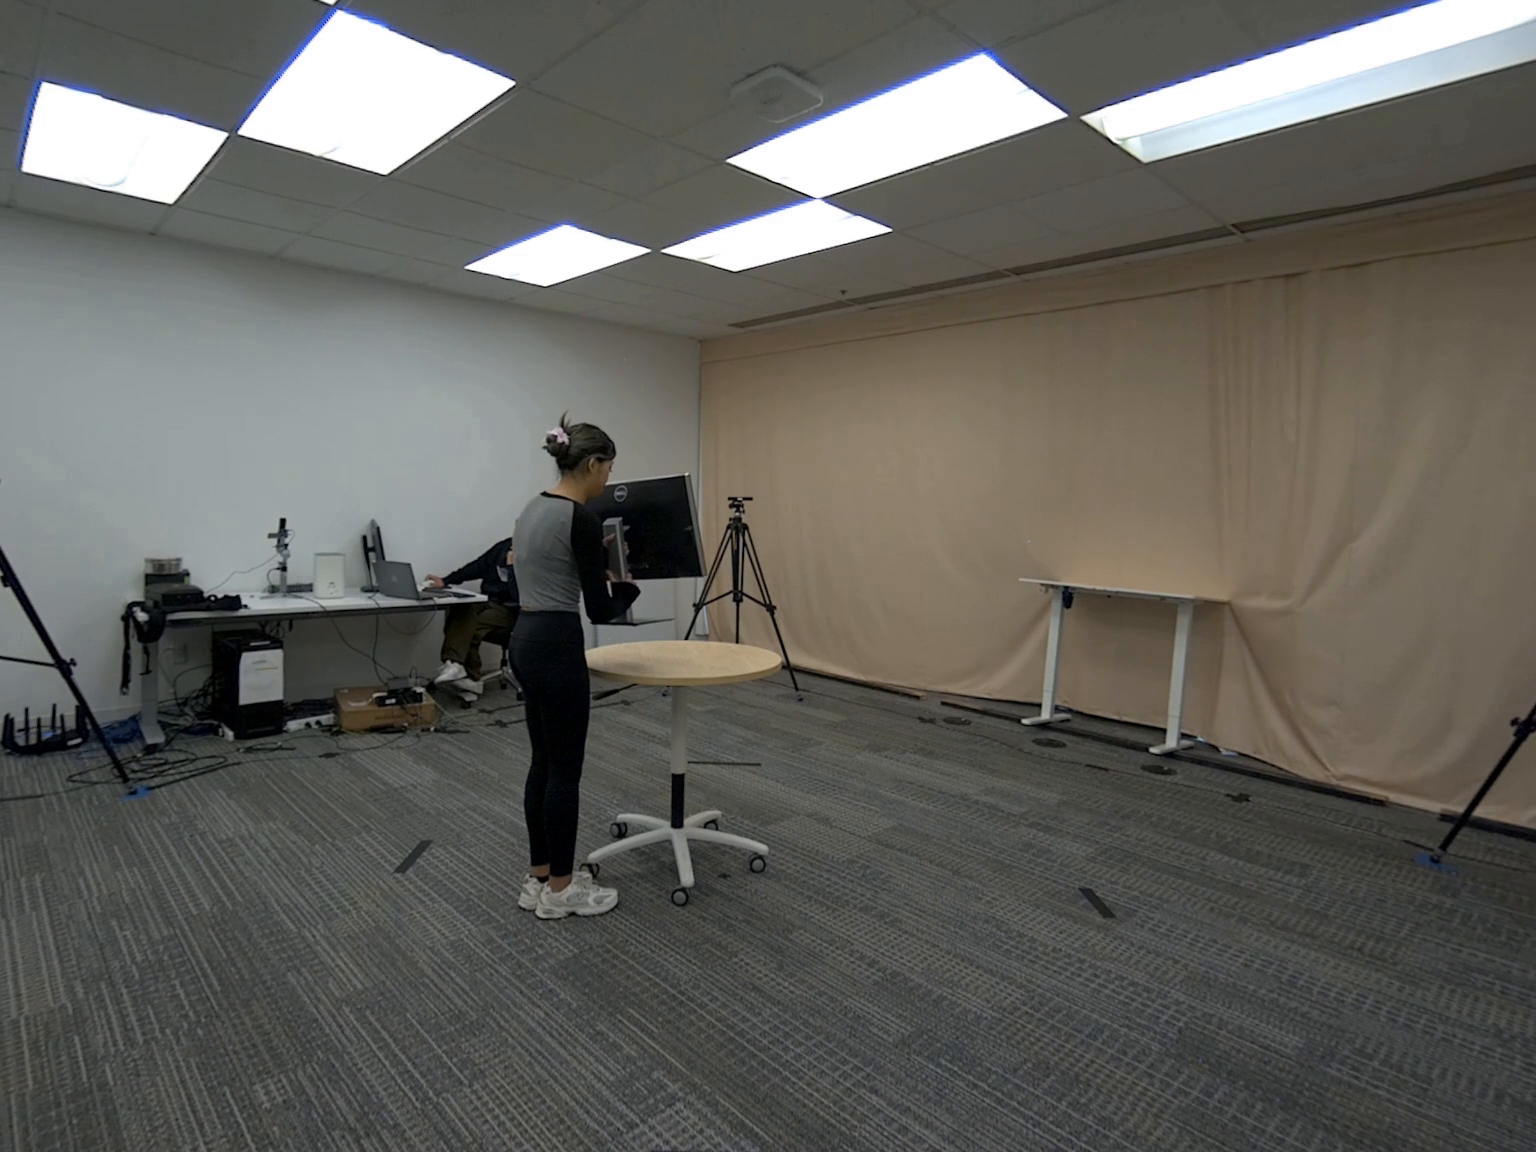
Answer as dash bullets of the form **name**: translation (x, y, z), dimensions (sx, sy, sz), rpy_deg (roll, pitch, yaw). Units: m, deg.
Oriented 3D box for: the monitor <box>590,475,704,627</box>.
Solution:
- **monitor**: translation (-0.506, -0.079, 2.995), dimensions (0.550, 0.523, 0.183), rpy_deg (-2, -1, 30)
